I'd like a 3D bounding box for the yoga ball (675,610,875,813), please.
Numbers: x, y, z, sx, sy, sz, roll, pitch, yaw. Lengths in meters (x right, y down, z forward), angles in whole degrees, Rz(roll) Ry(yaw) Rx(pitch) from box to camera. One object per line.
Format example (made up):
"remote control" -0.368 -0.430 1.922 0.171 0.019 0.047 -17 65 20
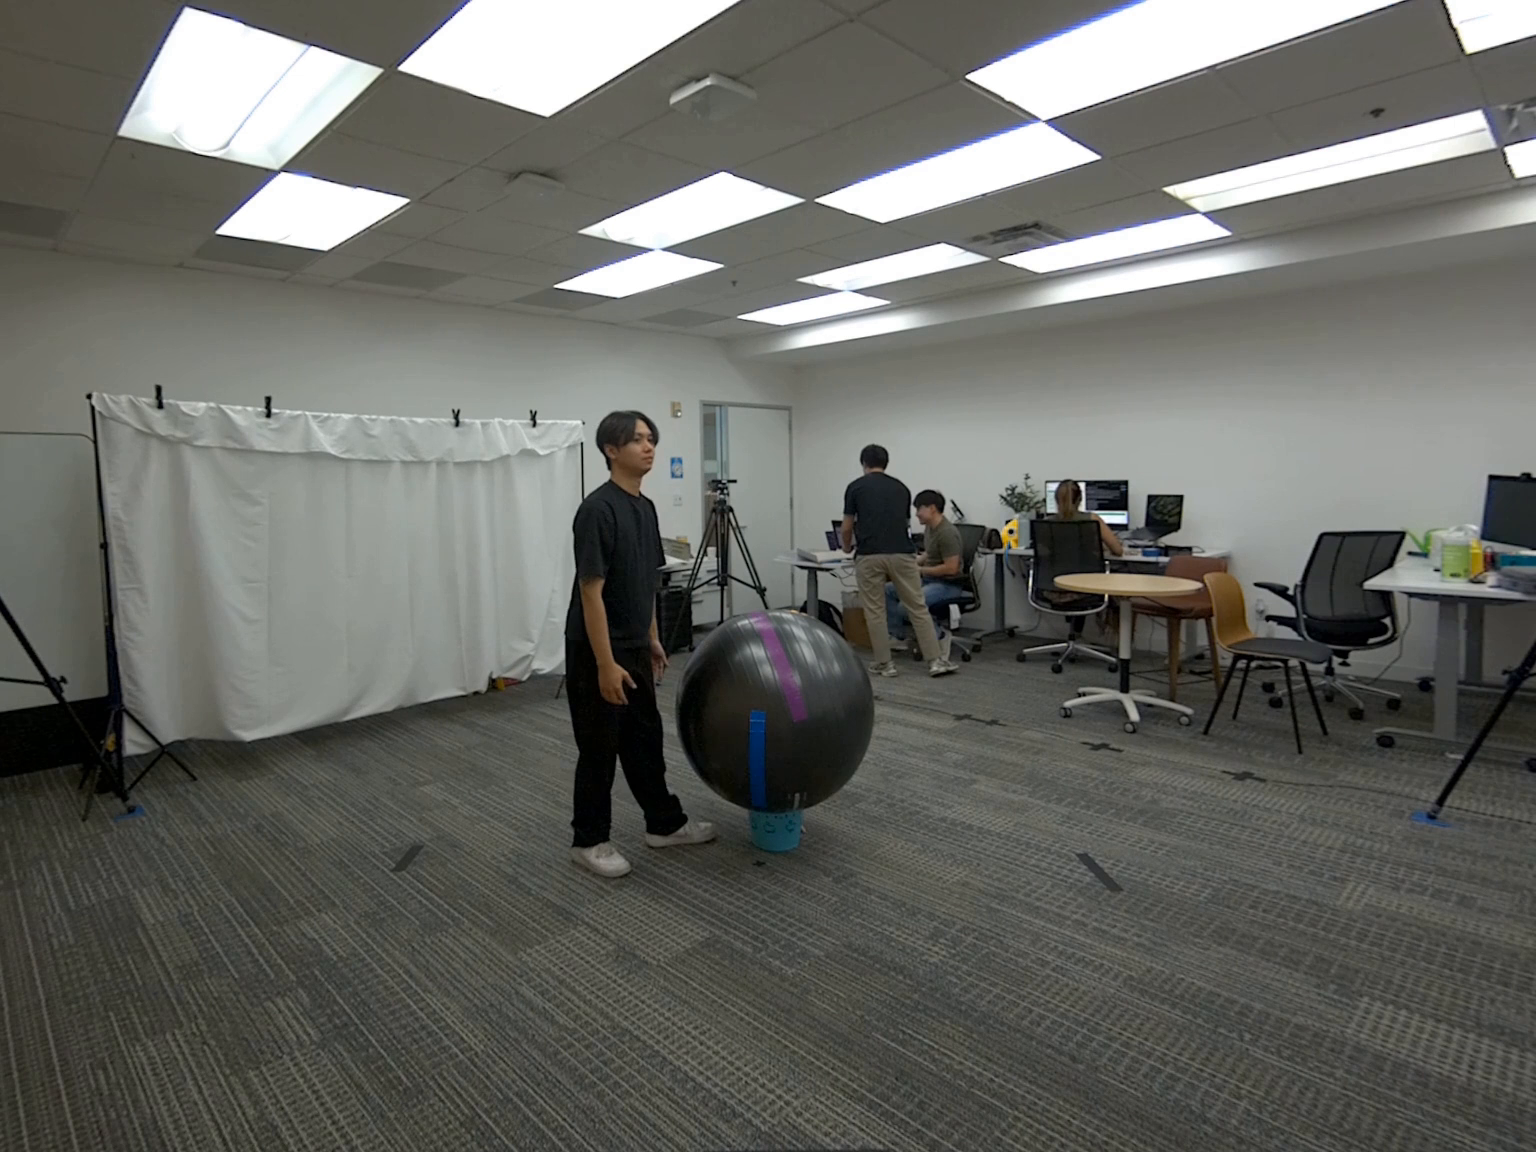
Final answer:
"yoga ball" 0.030 0.514 3.282 0.757 0.755 0.762 -1 5 -2
